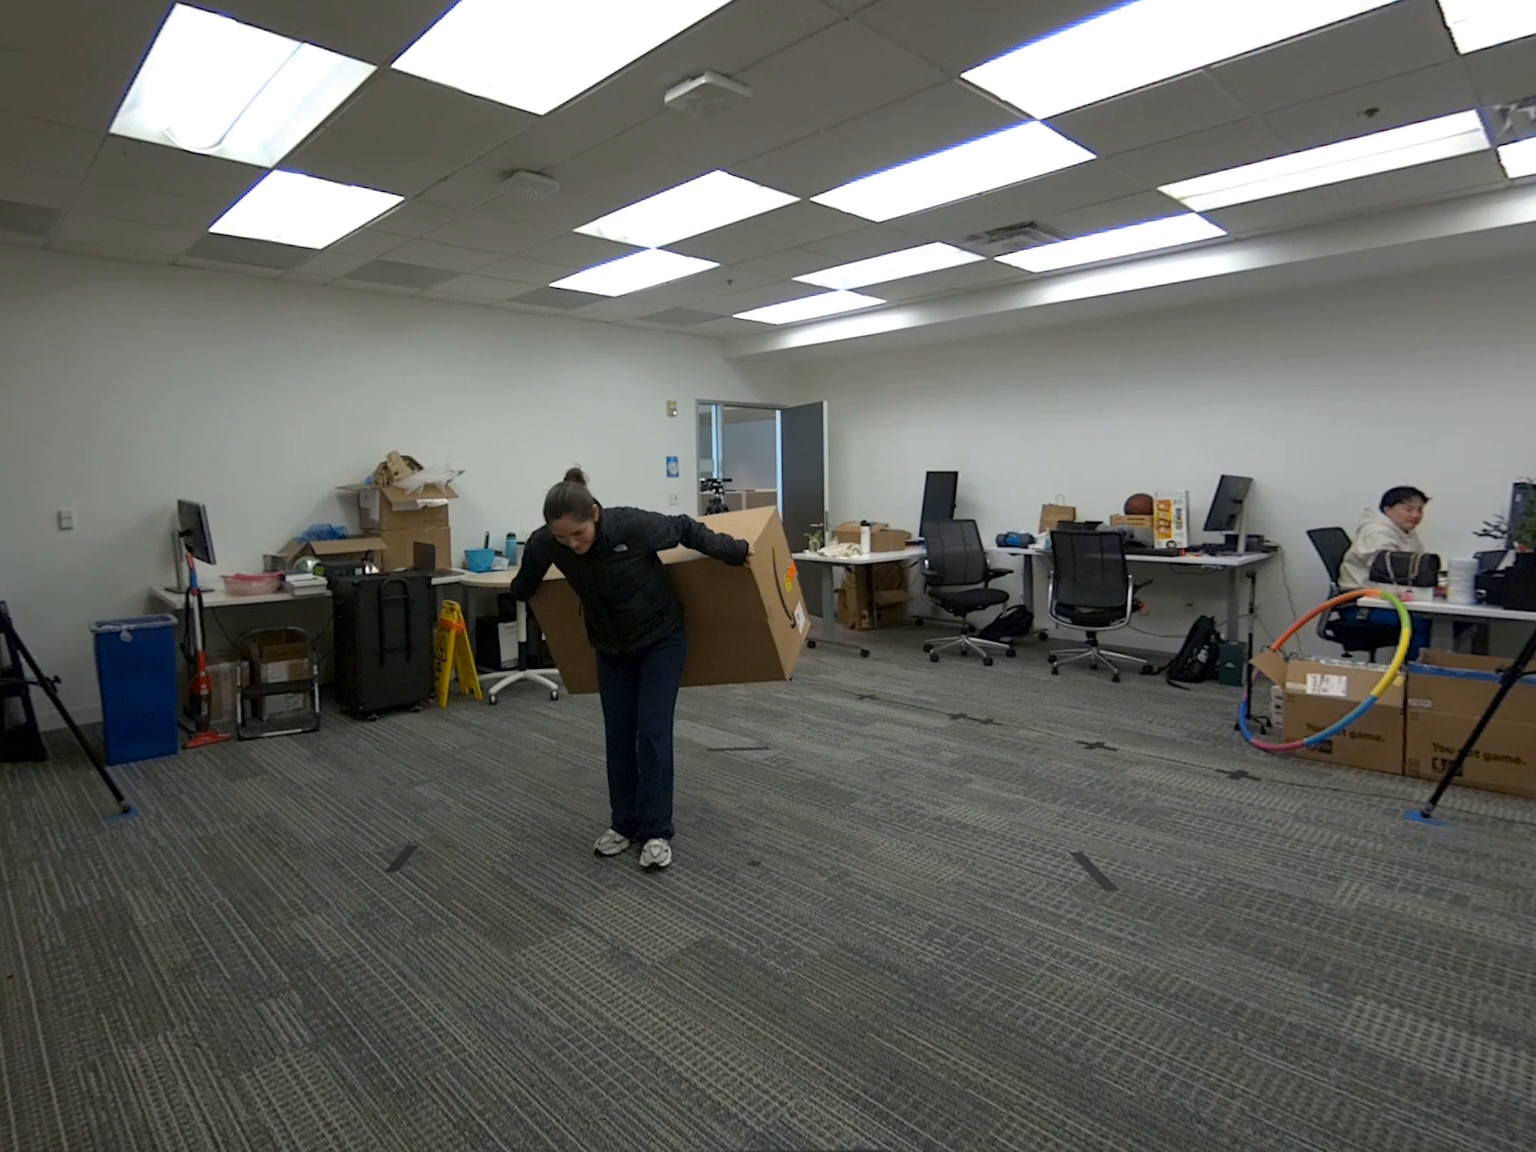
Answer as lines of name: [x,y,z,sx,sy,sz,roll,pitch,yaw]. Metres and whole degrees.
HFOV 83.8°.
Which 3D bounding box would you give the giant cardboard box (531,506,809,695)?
giant cardboard box: [-0.414,0.114,3.609,1.045,0.563,0.429,-7,25,23]
